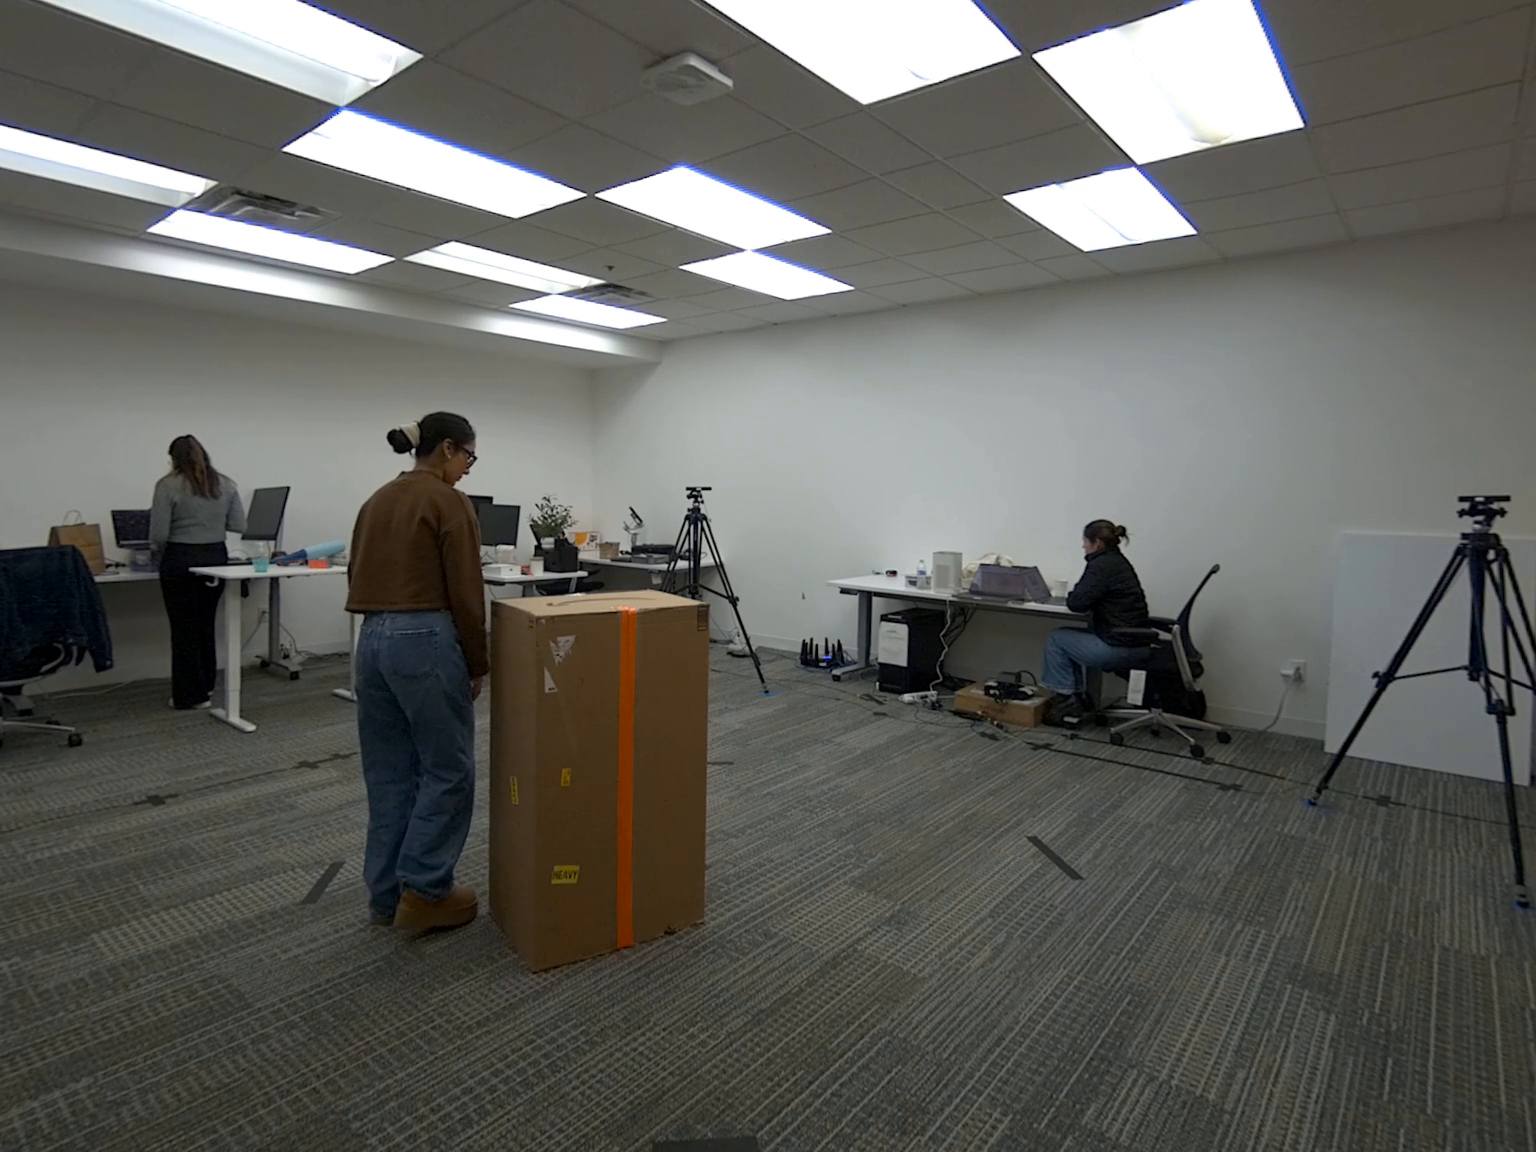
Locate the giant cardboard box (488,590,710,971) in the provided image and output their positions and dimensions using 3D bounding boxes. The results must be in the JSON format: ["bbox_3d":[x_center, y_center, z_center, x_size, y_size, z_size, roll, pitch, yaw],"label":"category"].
[{"bbox_3d":[-0.551,0.593,2.713,0.560,1.023,0.440,0,3,-36],"label":"giant cardboard box"}]
